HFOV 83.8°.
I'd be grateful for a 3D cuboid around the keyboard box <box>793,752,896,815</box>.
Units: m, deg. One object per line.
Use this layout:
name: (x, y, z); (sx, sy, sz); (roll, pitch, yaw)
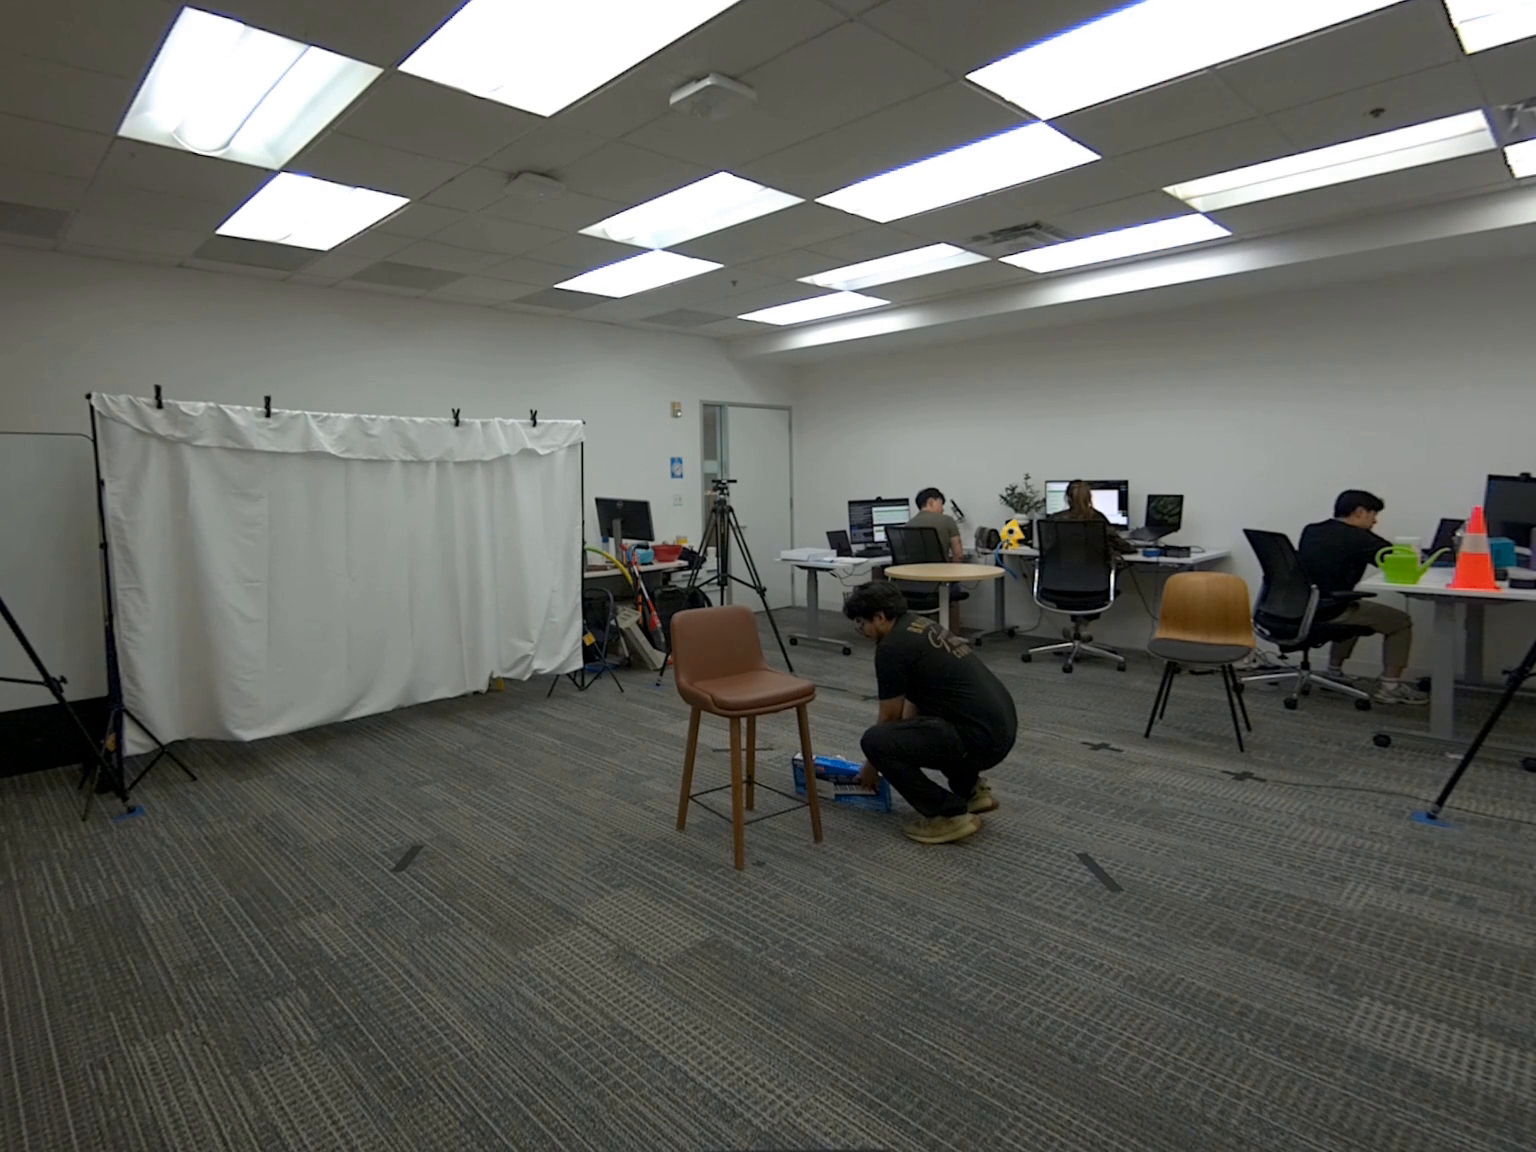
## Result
keyboard box: (0.326, 0.891, 3.704); (0.449, 0.173, 0.058); (3, 19, 33)
